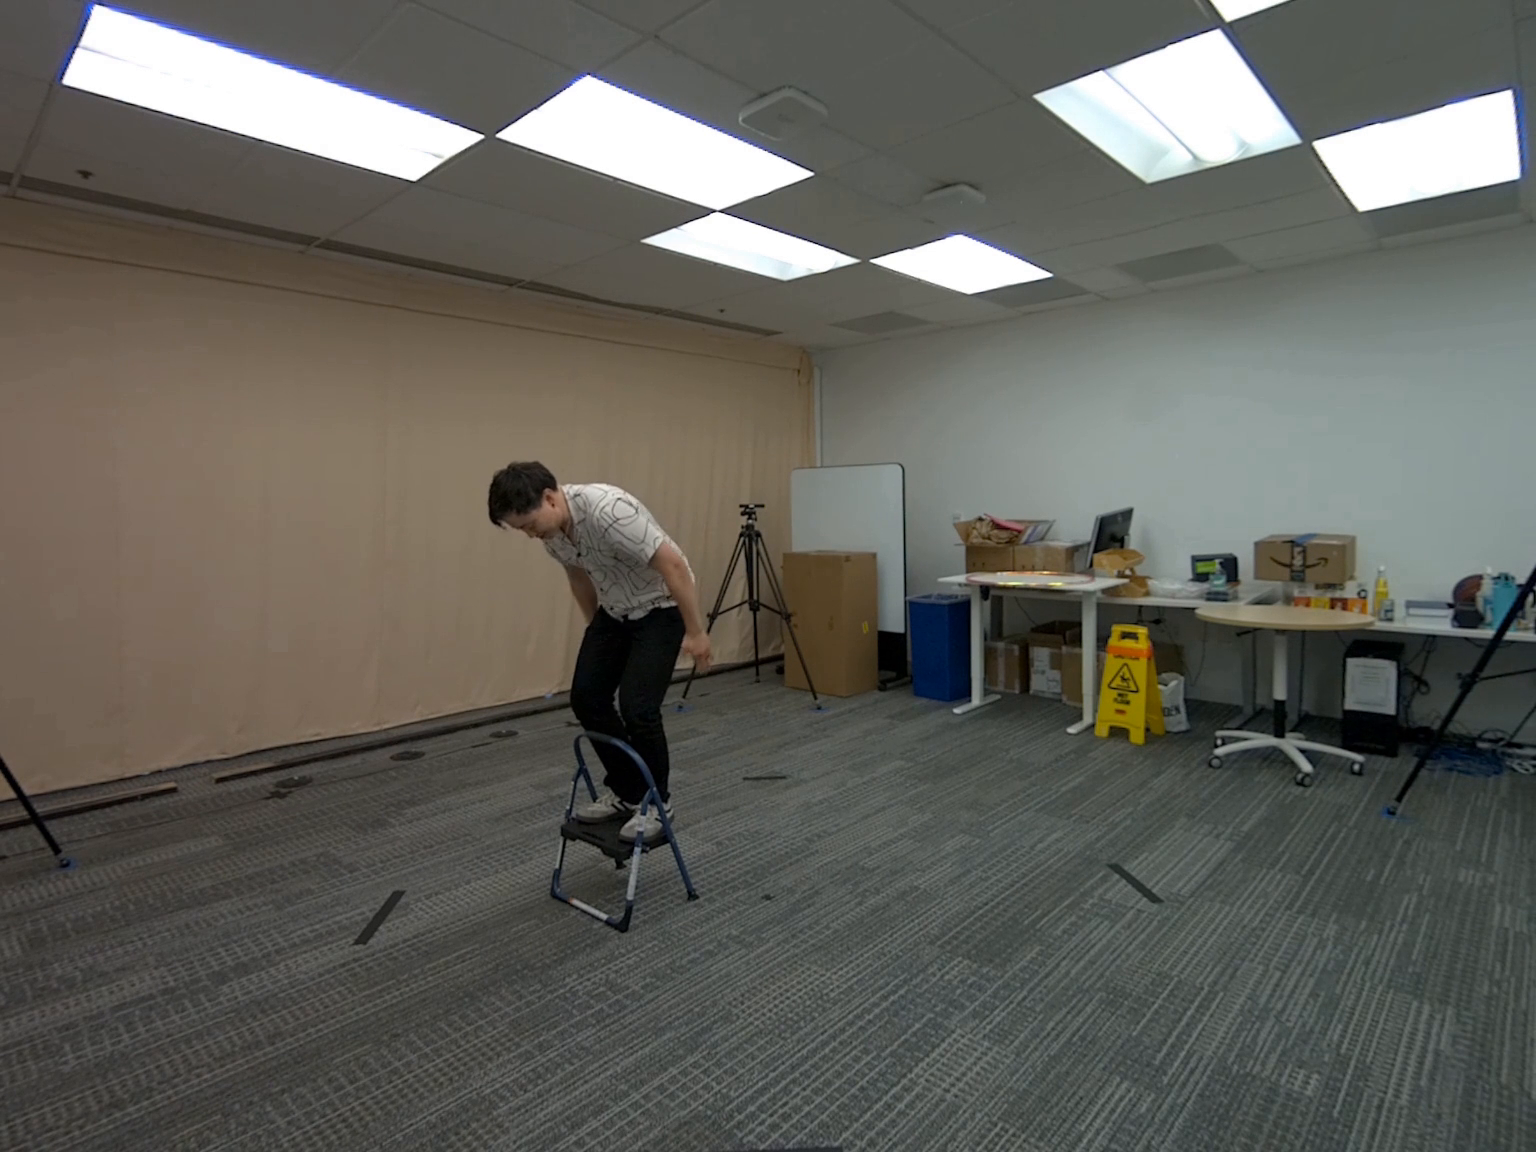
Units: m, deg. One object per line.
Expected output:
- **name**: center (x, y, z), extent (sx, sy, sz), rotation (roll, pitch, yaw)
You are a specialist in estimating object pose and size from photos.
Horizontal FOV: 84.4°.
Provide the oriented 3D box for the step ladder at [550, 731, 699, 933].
- **step ladder**: center (-0.526, 0.845, 2.997), extent (0.445, 0.604, 0.339), rotation (2, 5, 41)
